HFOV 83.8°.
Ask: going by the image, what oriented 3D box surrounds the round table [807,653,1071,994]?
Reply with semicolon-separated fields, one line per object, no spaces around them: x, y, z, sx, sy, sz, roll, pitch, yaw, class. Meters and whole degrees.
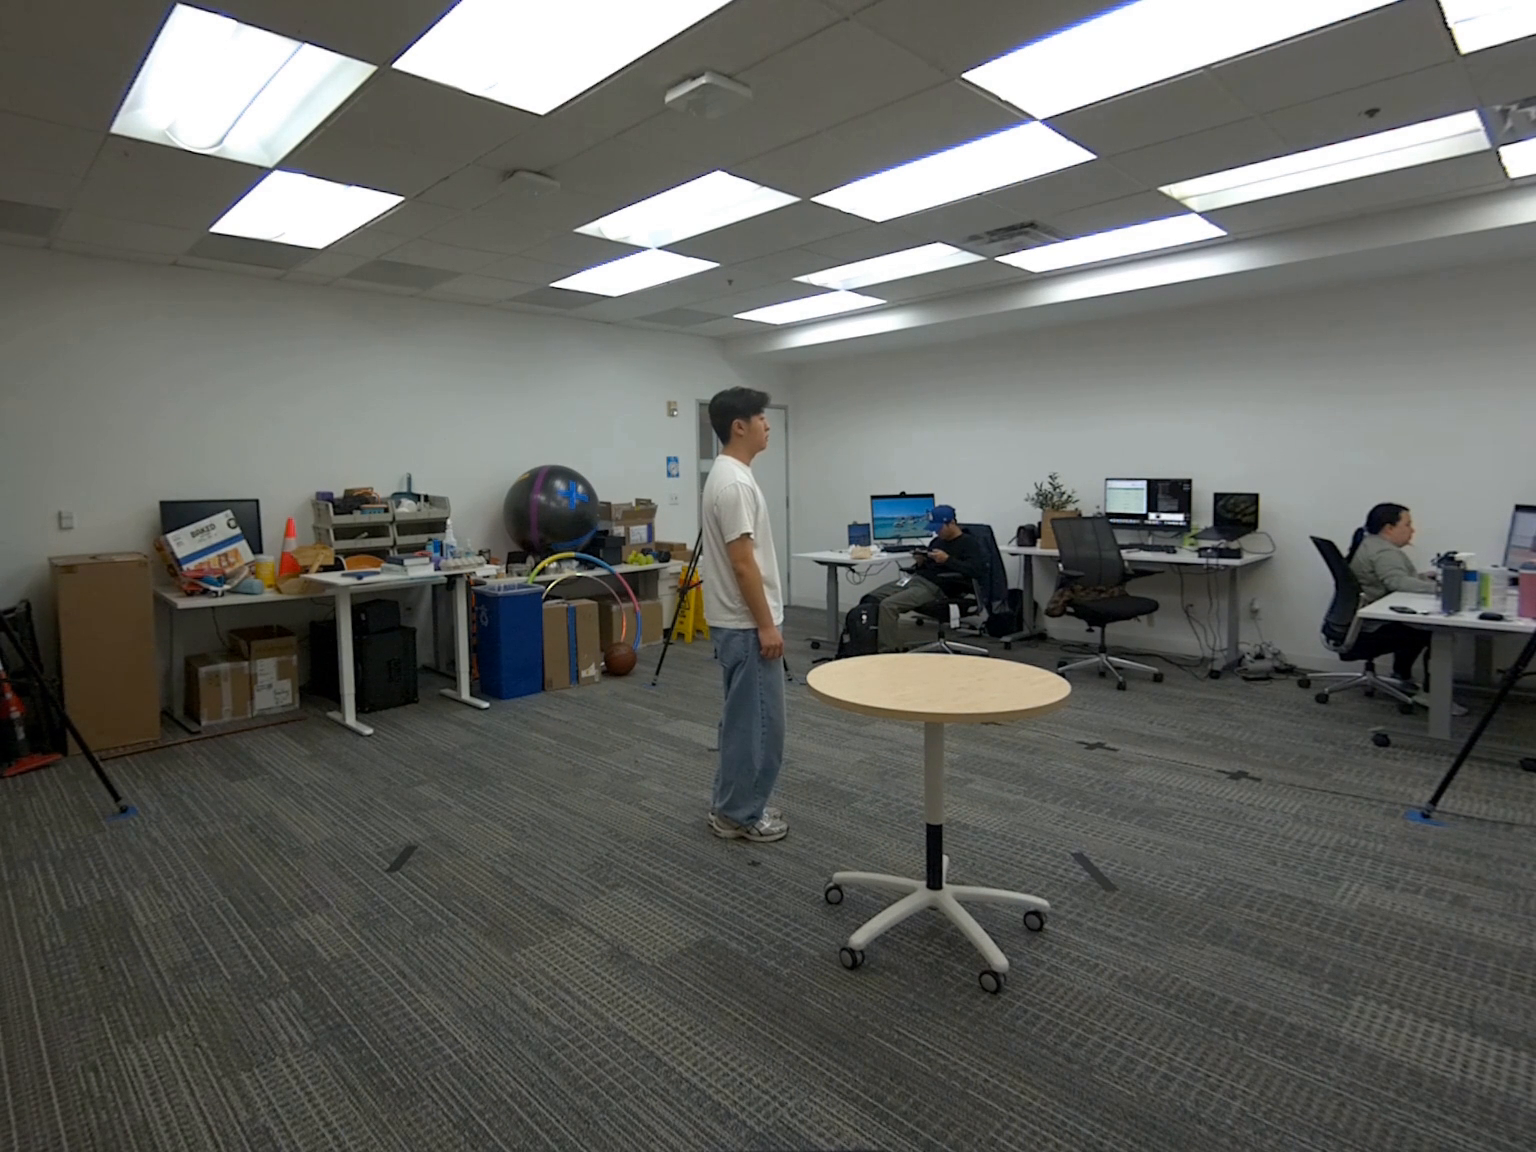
0.506;0.704;2.605;0.763;0.791;0.768;-1;5;-2;round table
